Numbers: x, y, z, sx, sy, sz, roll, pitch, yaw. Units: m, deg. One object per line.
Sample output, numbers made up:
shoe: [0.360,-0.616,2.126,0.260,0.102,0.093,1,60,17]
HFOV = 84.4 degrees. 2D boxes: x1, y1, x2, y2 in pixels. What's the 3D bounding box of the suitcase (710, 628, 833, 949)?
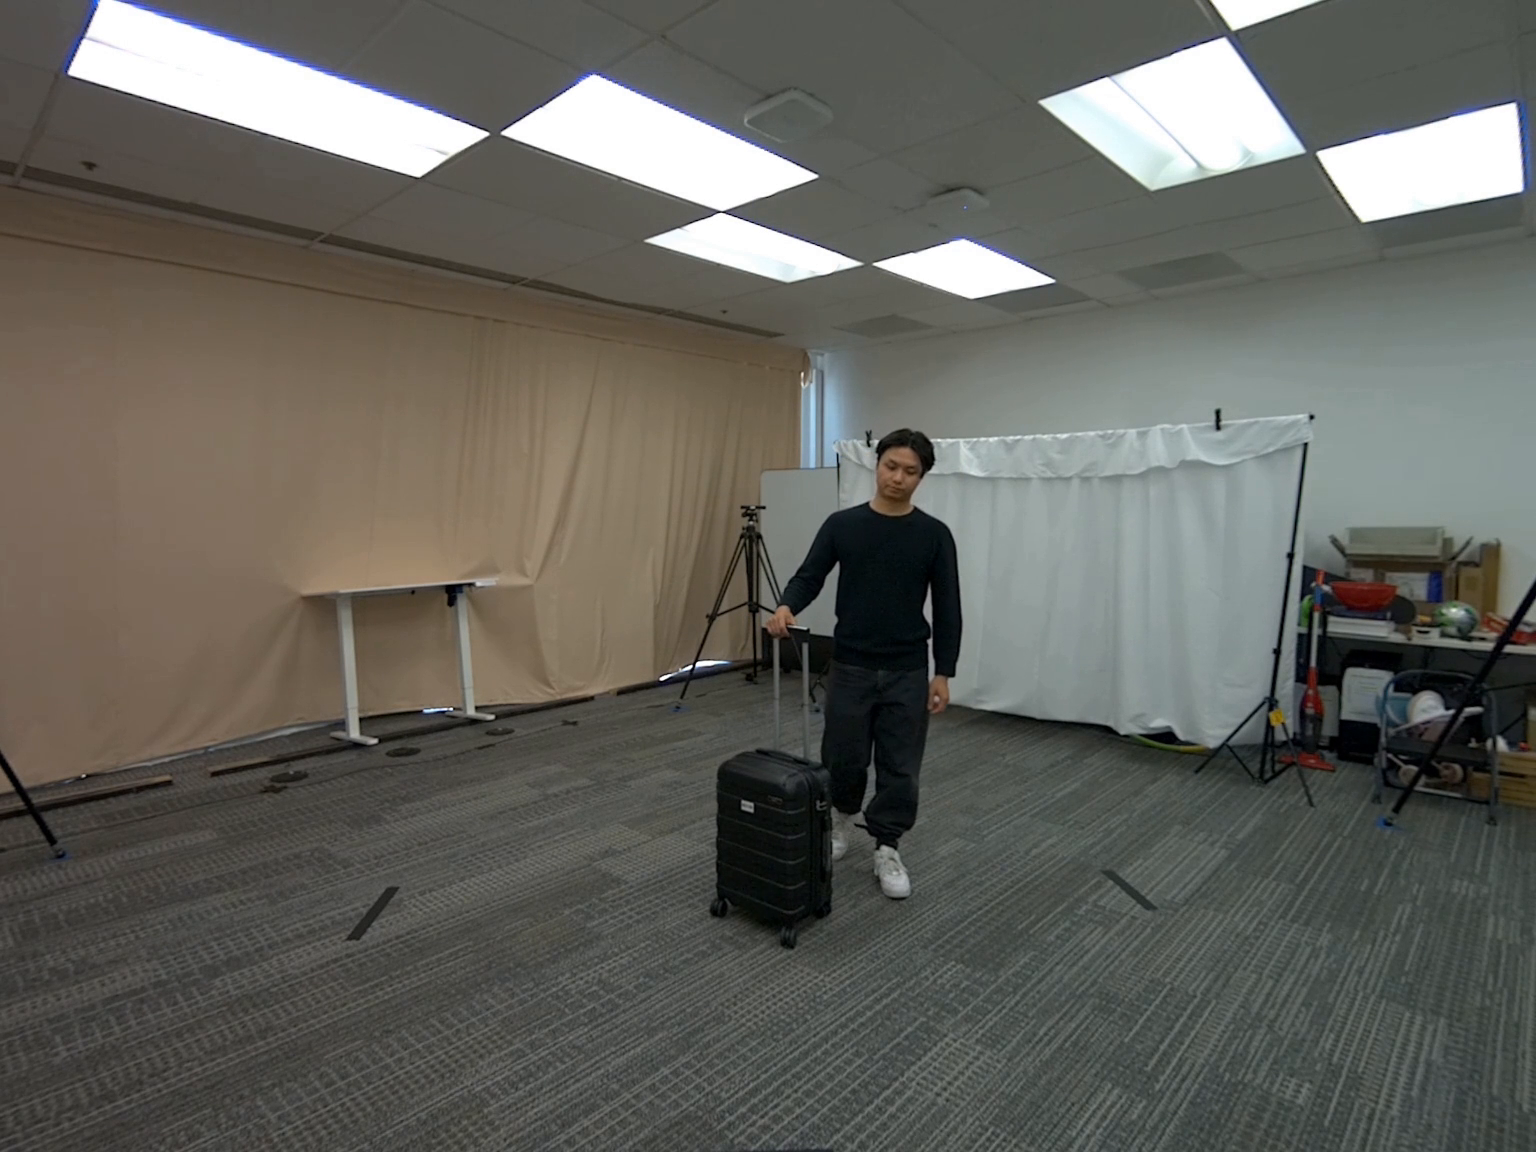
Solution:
suitcase: [0.018,0.681,2.823,0.396,0.976,0.249,3,5,38]
